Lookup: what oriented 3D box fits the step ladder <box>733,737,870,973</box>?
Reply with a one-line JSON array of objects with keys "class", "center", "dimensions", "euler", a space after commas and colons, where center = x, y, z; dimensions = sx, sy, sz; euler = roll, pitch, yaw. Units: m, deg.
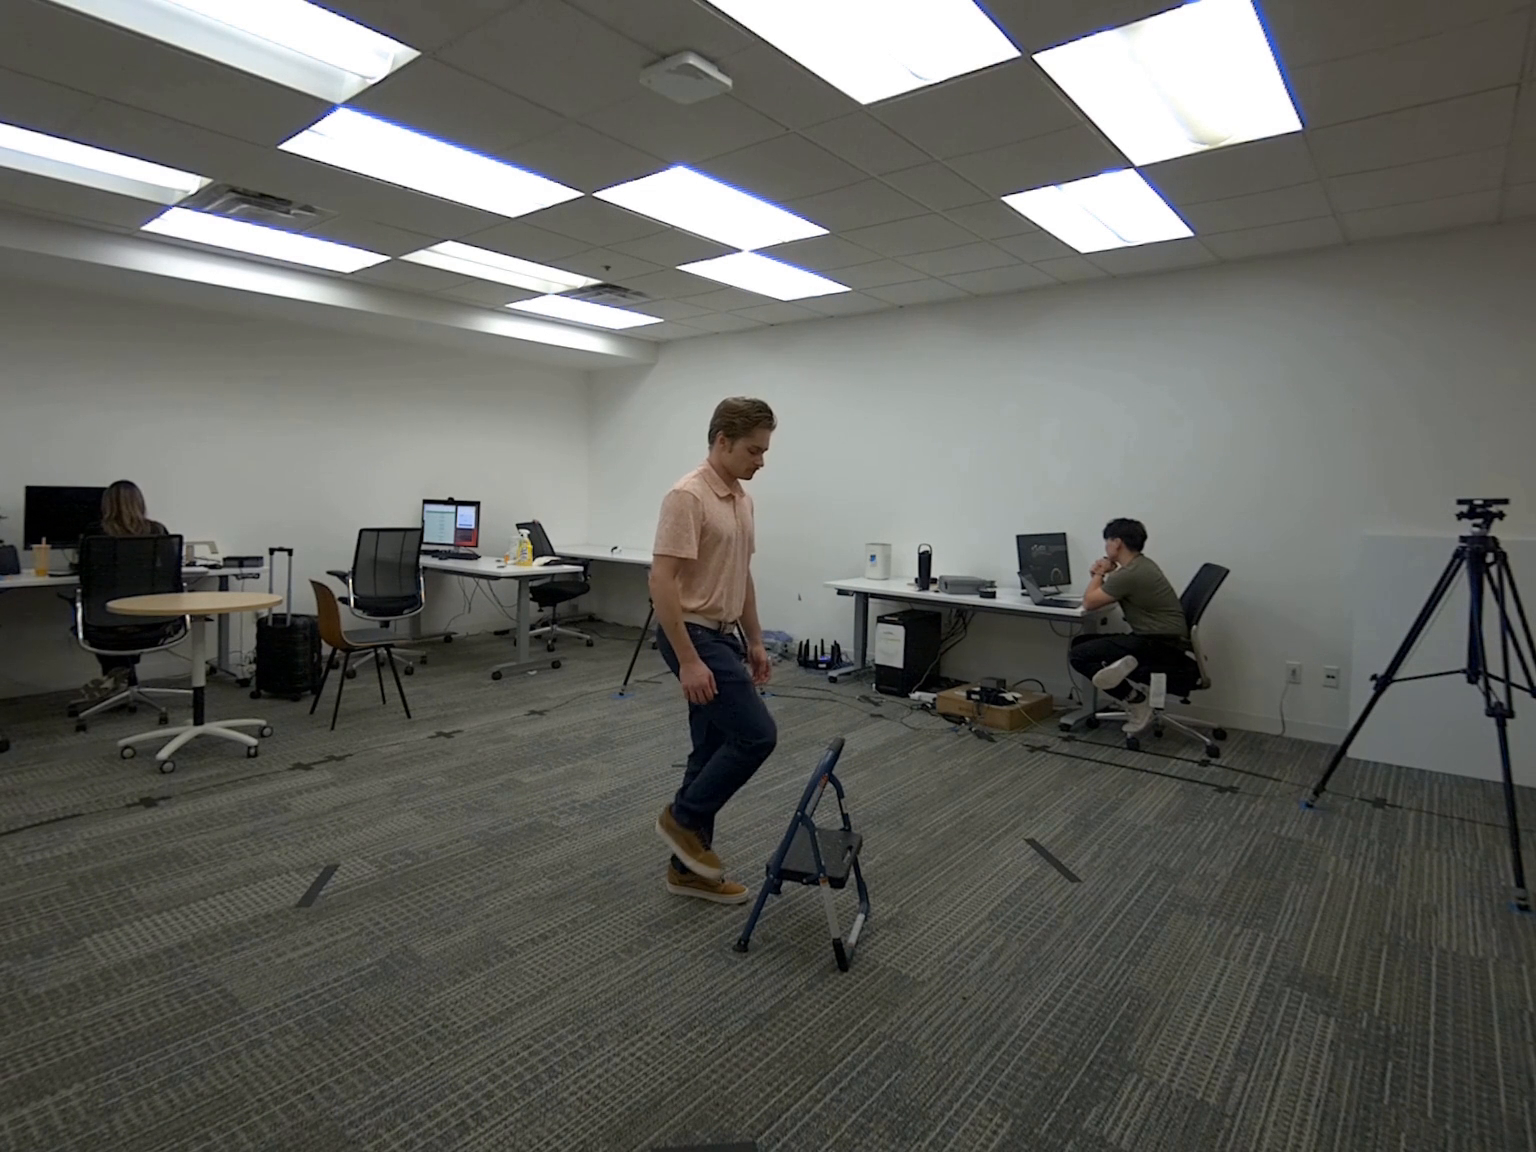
[{"class": "step ladder", "center": [0.125, 0.815, 2.686], "dimensions": [0.356, 0.604, 0.424], "euler": [3, 4, 17]}]
